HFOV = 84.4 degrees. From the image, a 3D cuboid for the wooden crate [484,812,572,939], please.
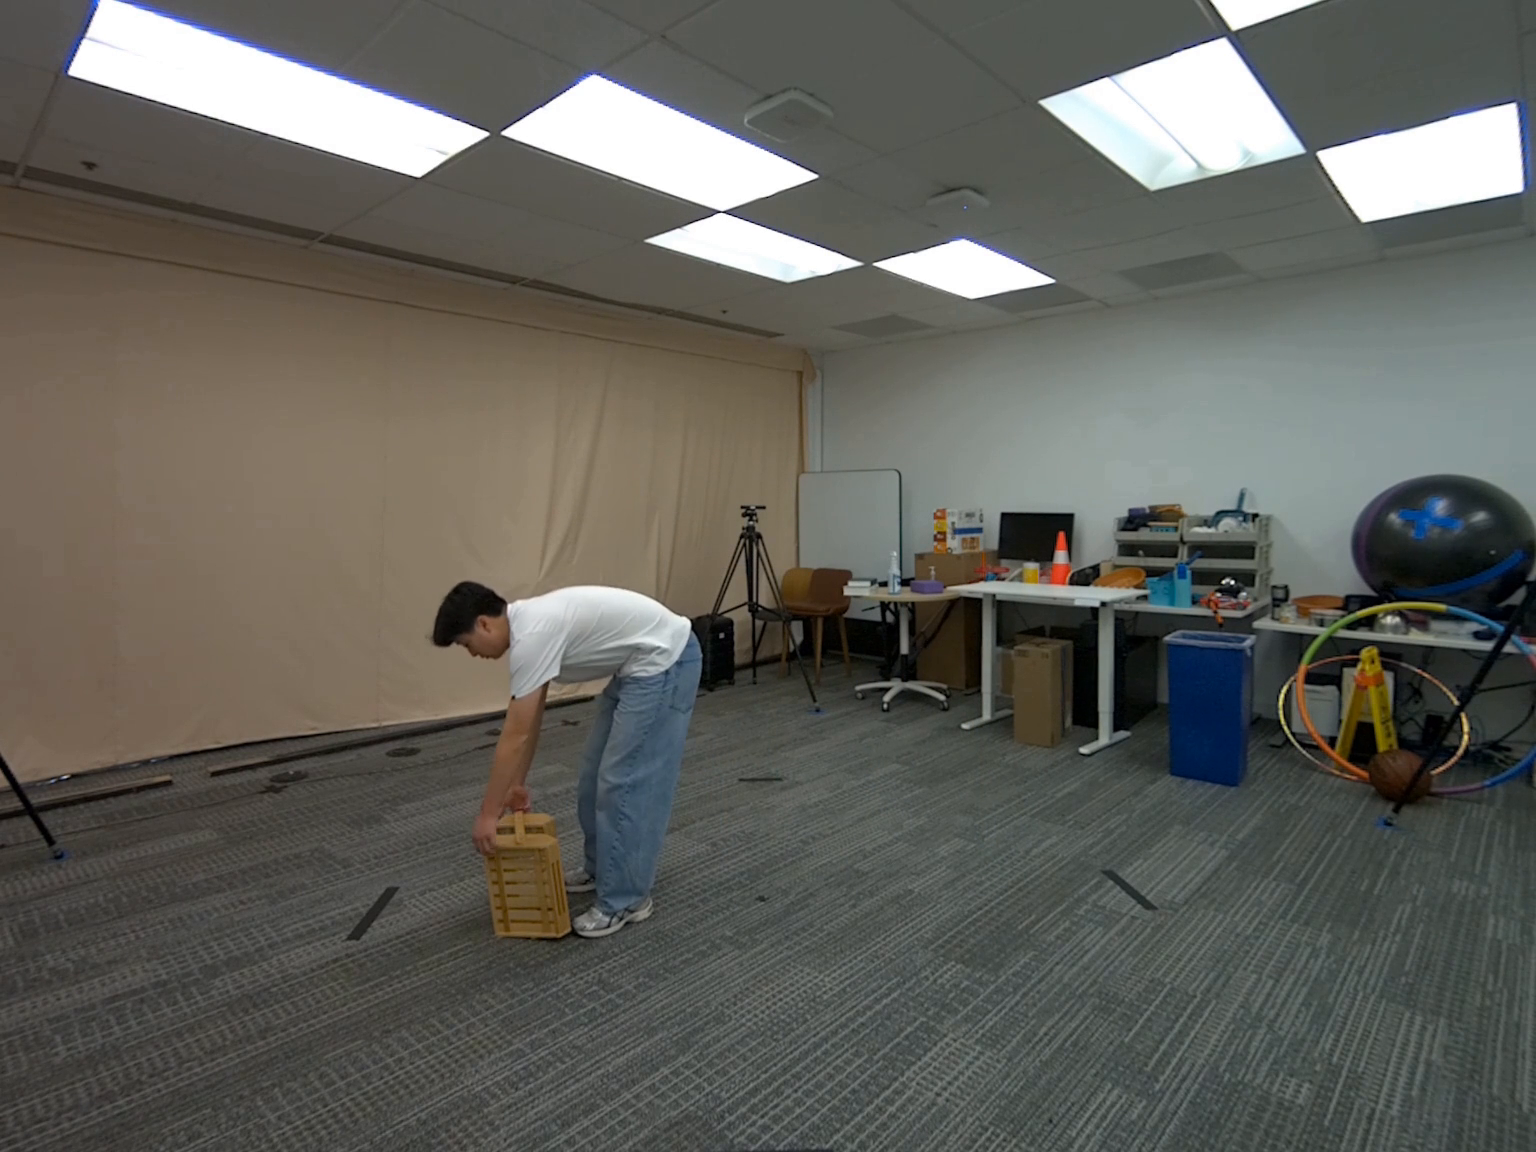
[{"bbox_3d":[-0.786,0.995,2.833,0.307,0.323,0.270,-4,6,15],"label":"wooden crate"}]
